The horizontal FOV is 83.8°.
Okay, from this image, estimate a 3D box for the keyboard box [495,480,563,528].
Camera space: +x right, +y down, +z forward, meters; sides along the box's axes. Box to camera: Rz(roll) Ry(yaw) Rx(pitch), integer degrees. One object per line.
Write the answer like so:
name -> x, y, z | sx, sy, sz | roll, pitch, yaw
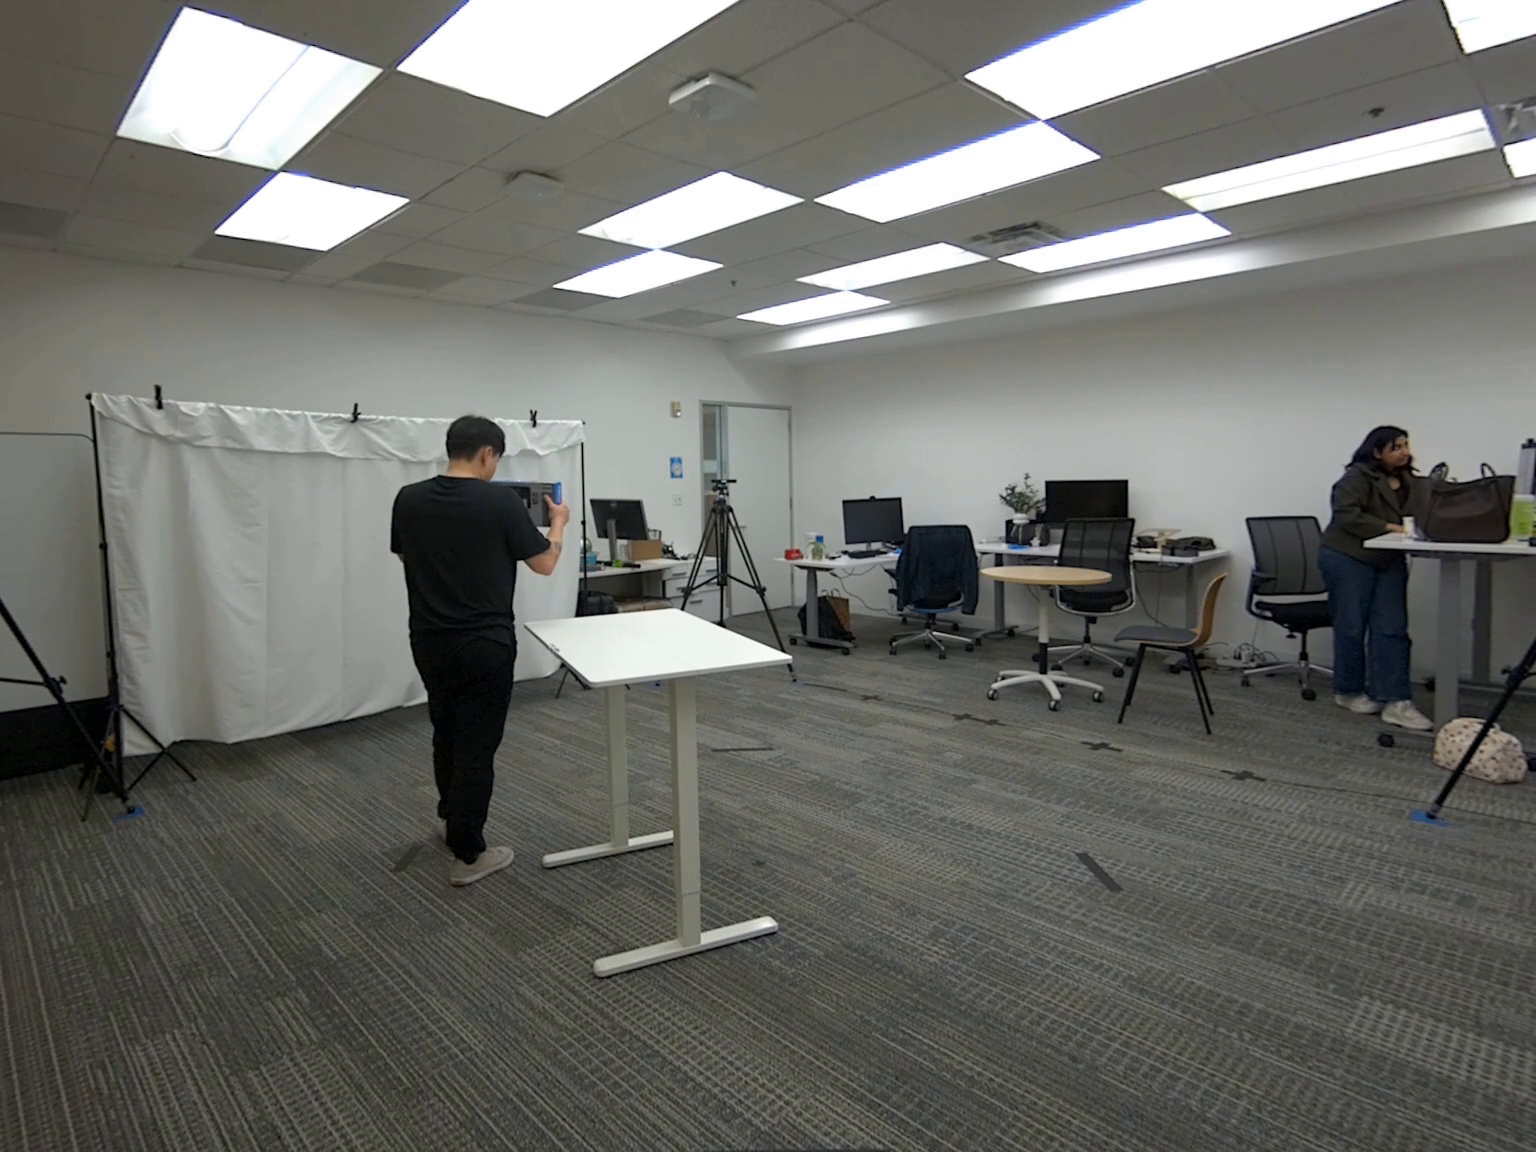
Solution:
keyboard box -> -1.022, -0.286, 3.347 | 0.444, 0.174, 0.058 | 4, 9, 17
